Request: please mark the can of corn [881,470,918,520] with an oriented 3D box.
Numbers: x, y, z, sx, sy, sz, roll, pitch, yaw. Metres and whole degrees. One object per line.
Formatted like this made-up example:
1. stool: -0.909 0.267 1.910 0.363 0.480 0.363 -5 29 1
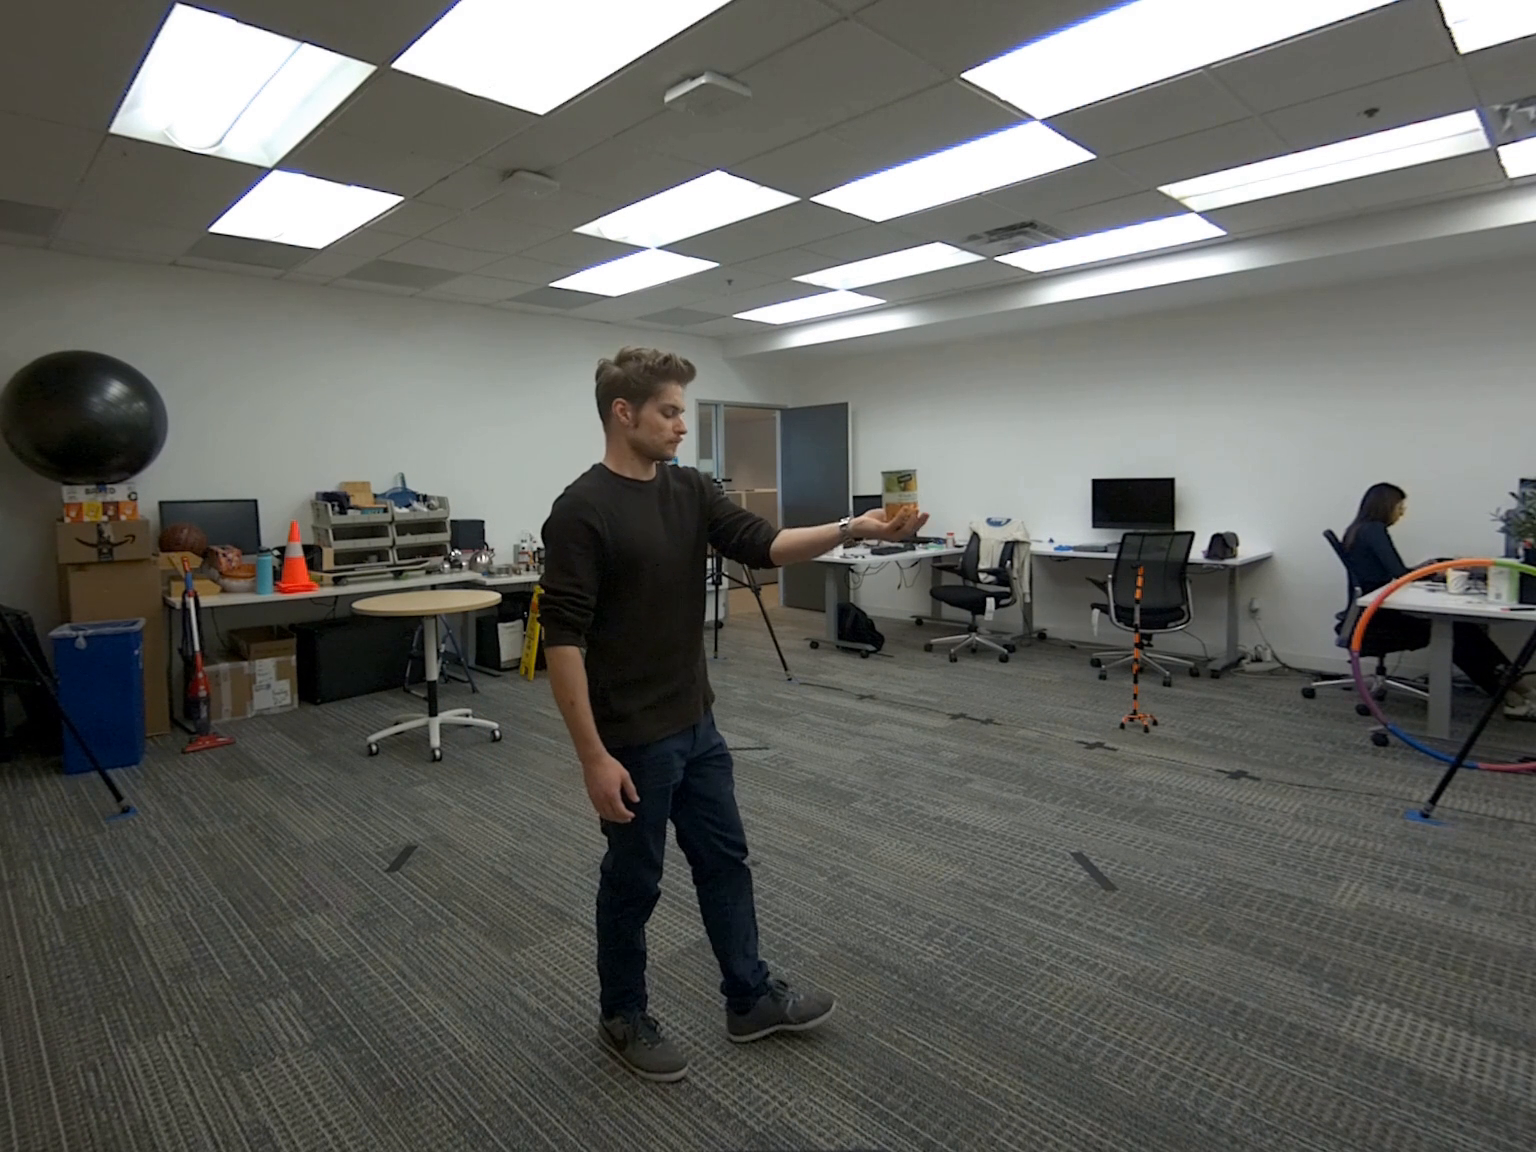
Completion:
1. can of corn: 0.272 -0.166 1.815 0.074 0.110 0.074 -4 5 -1
